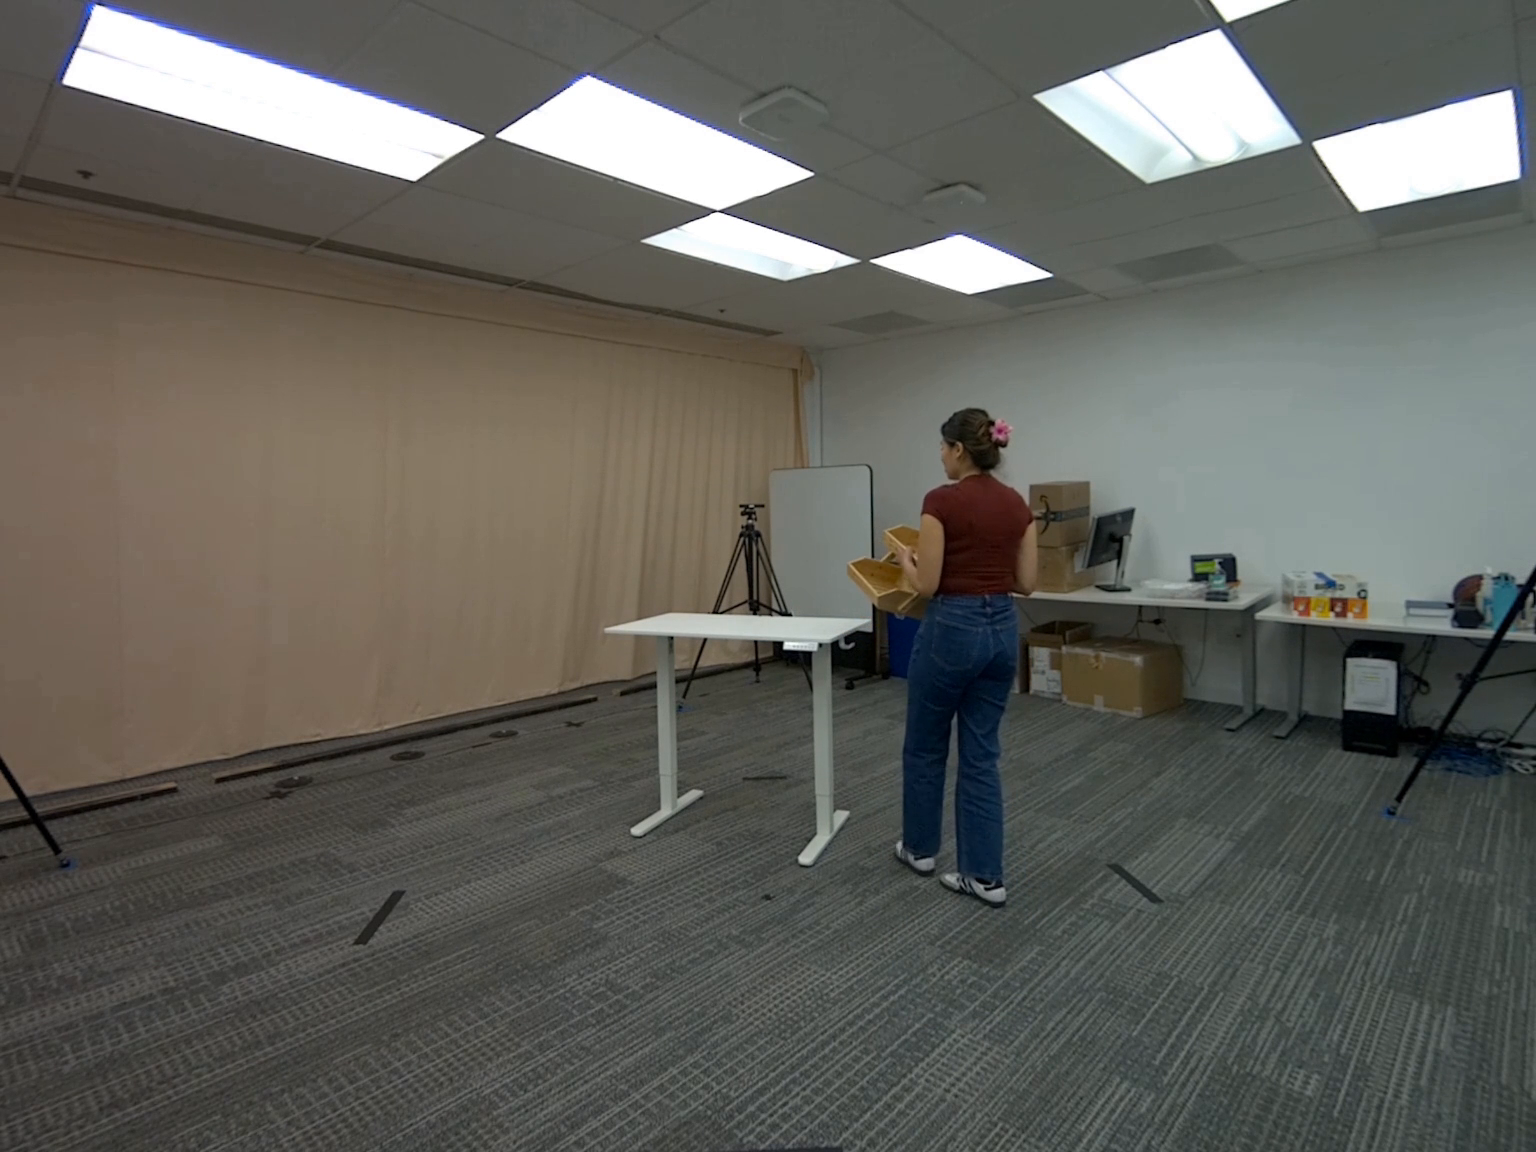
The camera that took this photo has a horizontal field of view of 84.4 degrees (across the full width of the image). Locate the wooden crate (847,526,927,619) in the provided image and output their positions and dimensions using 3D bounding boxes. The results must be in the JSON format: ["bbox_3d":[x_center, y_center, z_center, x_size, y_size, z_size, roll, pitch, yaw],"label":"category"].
[{"bbox_3d":[0.536,-0.030,3.256,0.294,0.272,0.333,16,18,-23],"label":"wooden crate"}]
